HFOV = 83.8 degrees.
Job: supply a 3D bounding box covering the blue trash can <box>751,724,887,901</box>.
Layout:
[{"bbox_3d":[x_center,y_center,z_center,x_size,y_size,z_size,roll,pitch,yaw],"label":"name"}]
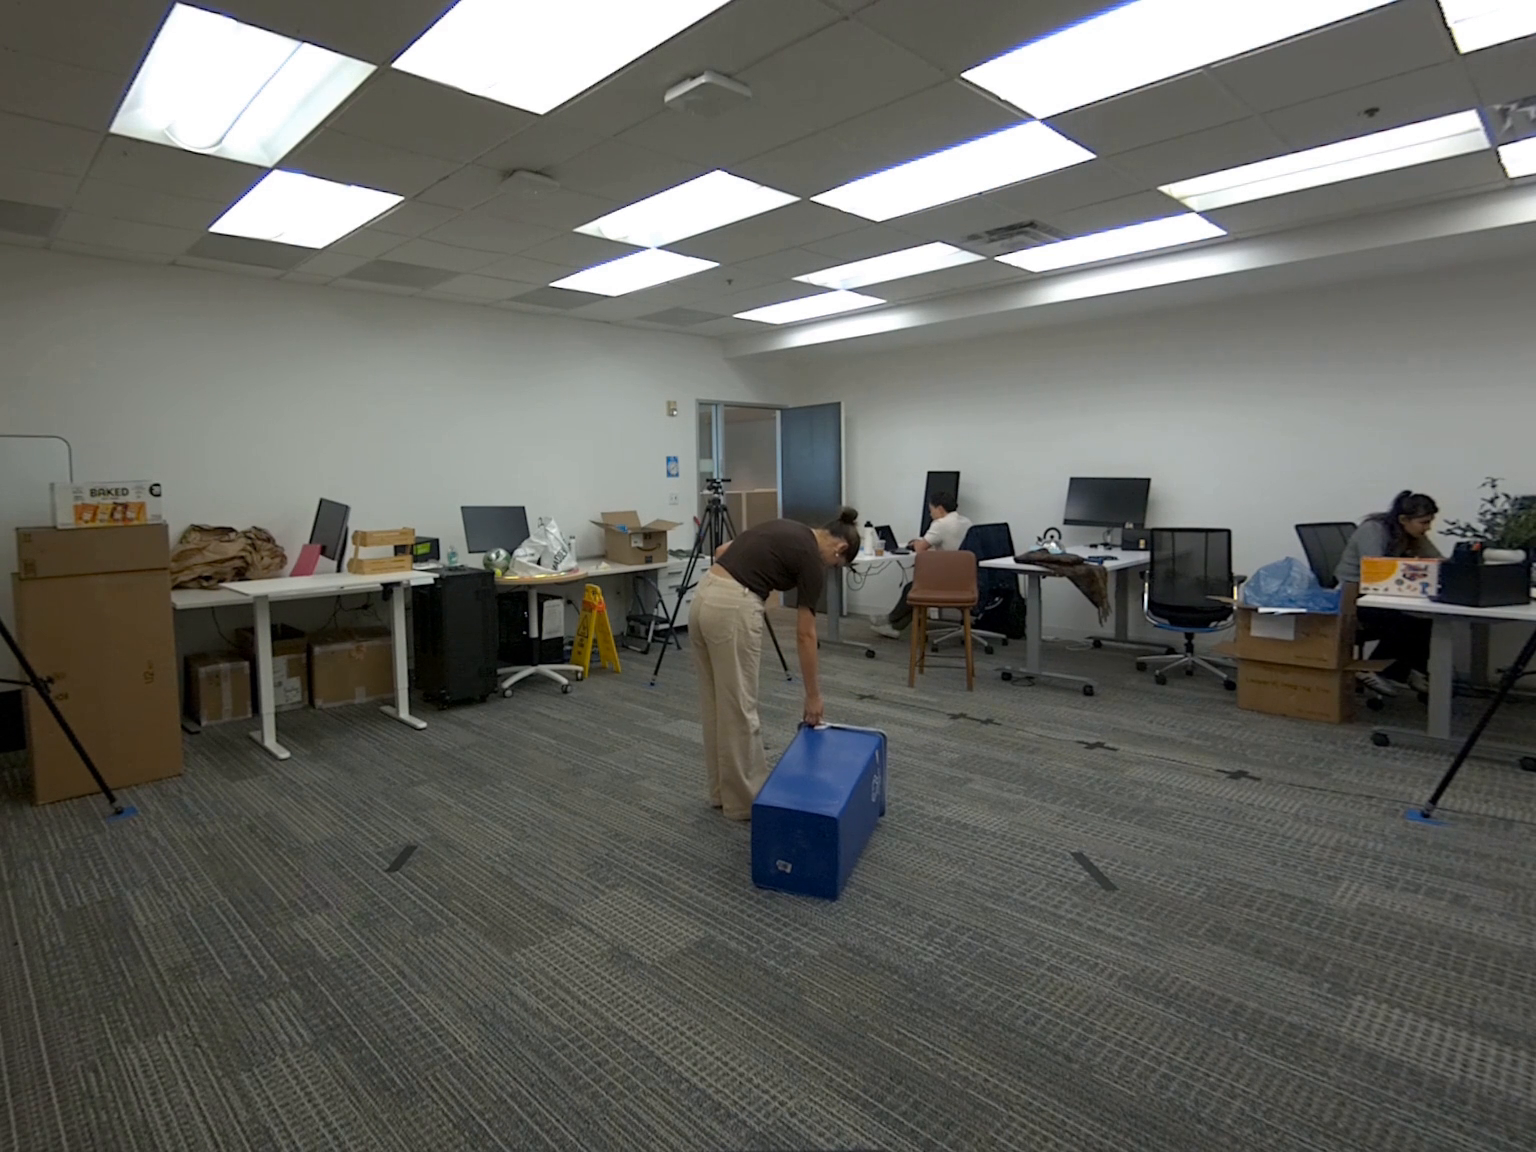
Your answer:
[{"bbox_3d":[0.199,0.855,3.164,0.386,0.371,0.705,3,11,20],"label":"blue trash can"}]
